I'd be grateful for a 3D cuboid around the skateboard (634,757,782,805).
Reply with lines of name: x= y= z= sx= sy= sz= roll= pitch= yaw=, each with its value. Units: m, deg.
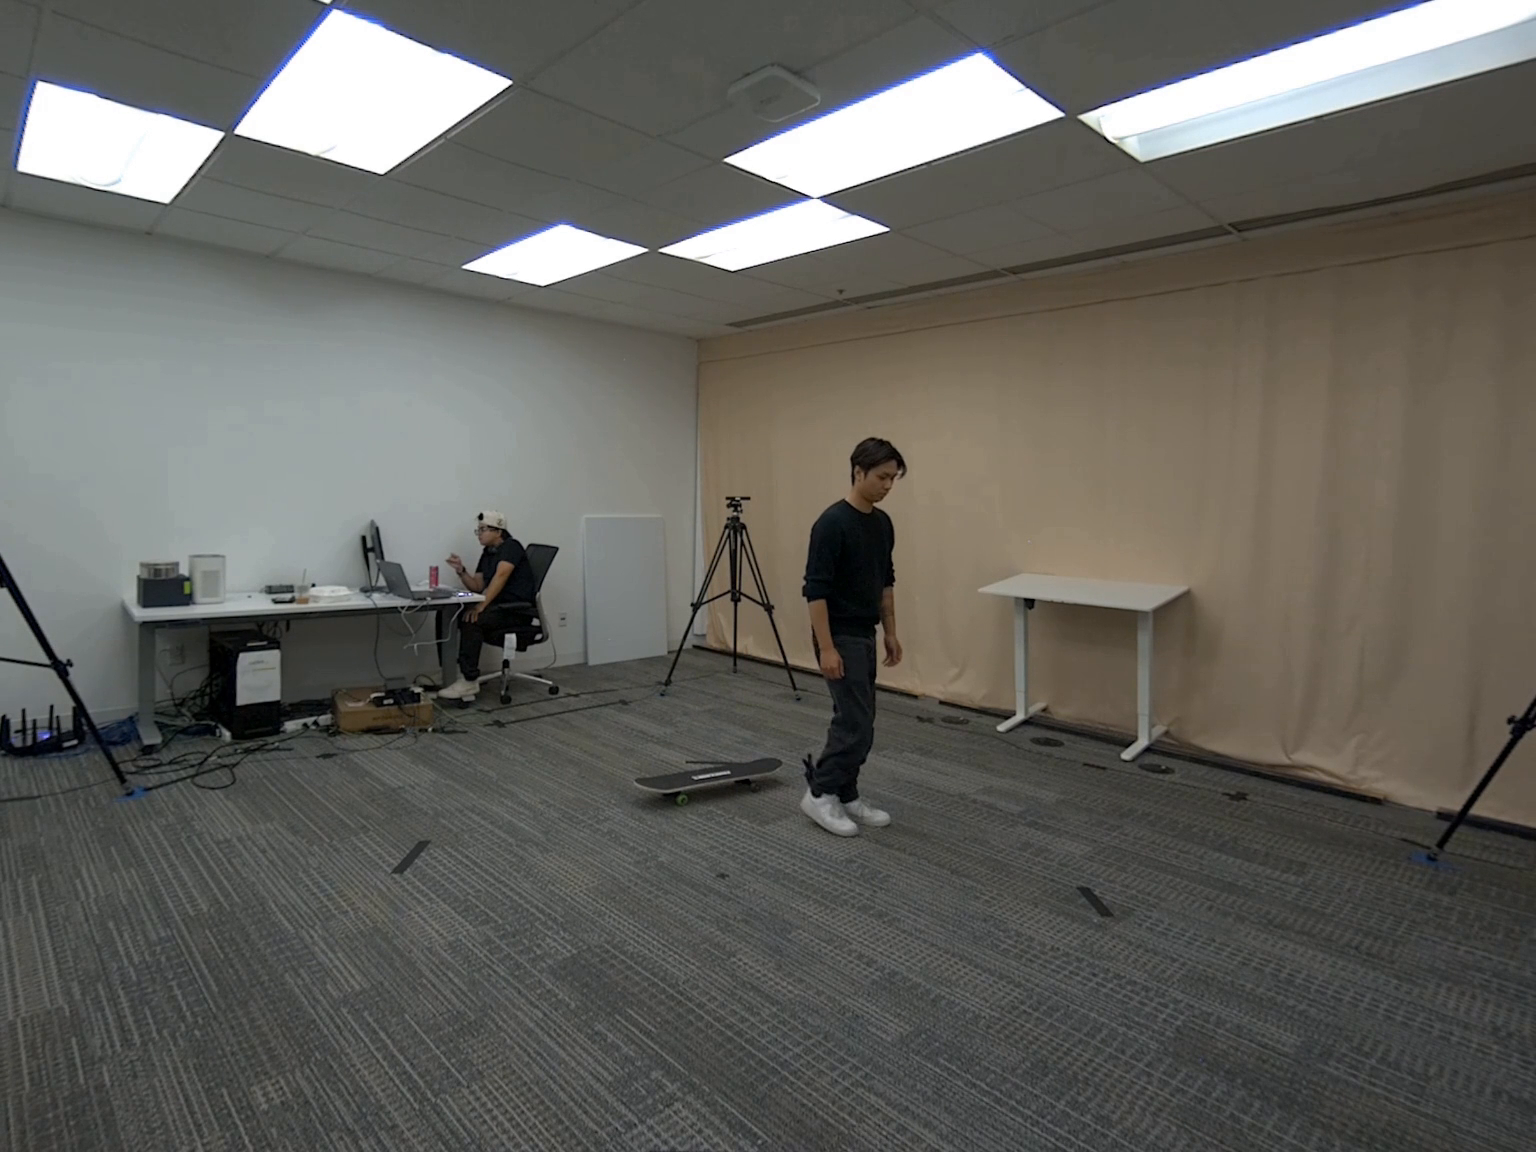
skateboard: x=-0.274 y=0.969 z=3.980 sx=0.769 sy=0.110 sz=0.198 roll=-2 pitch=6 yaw=-33
